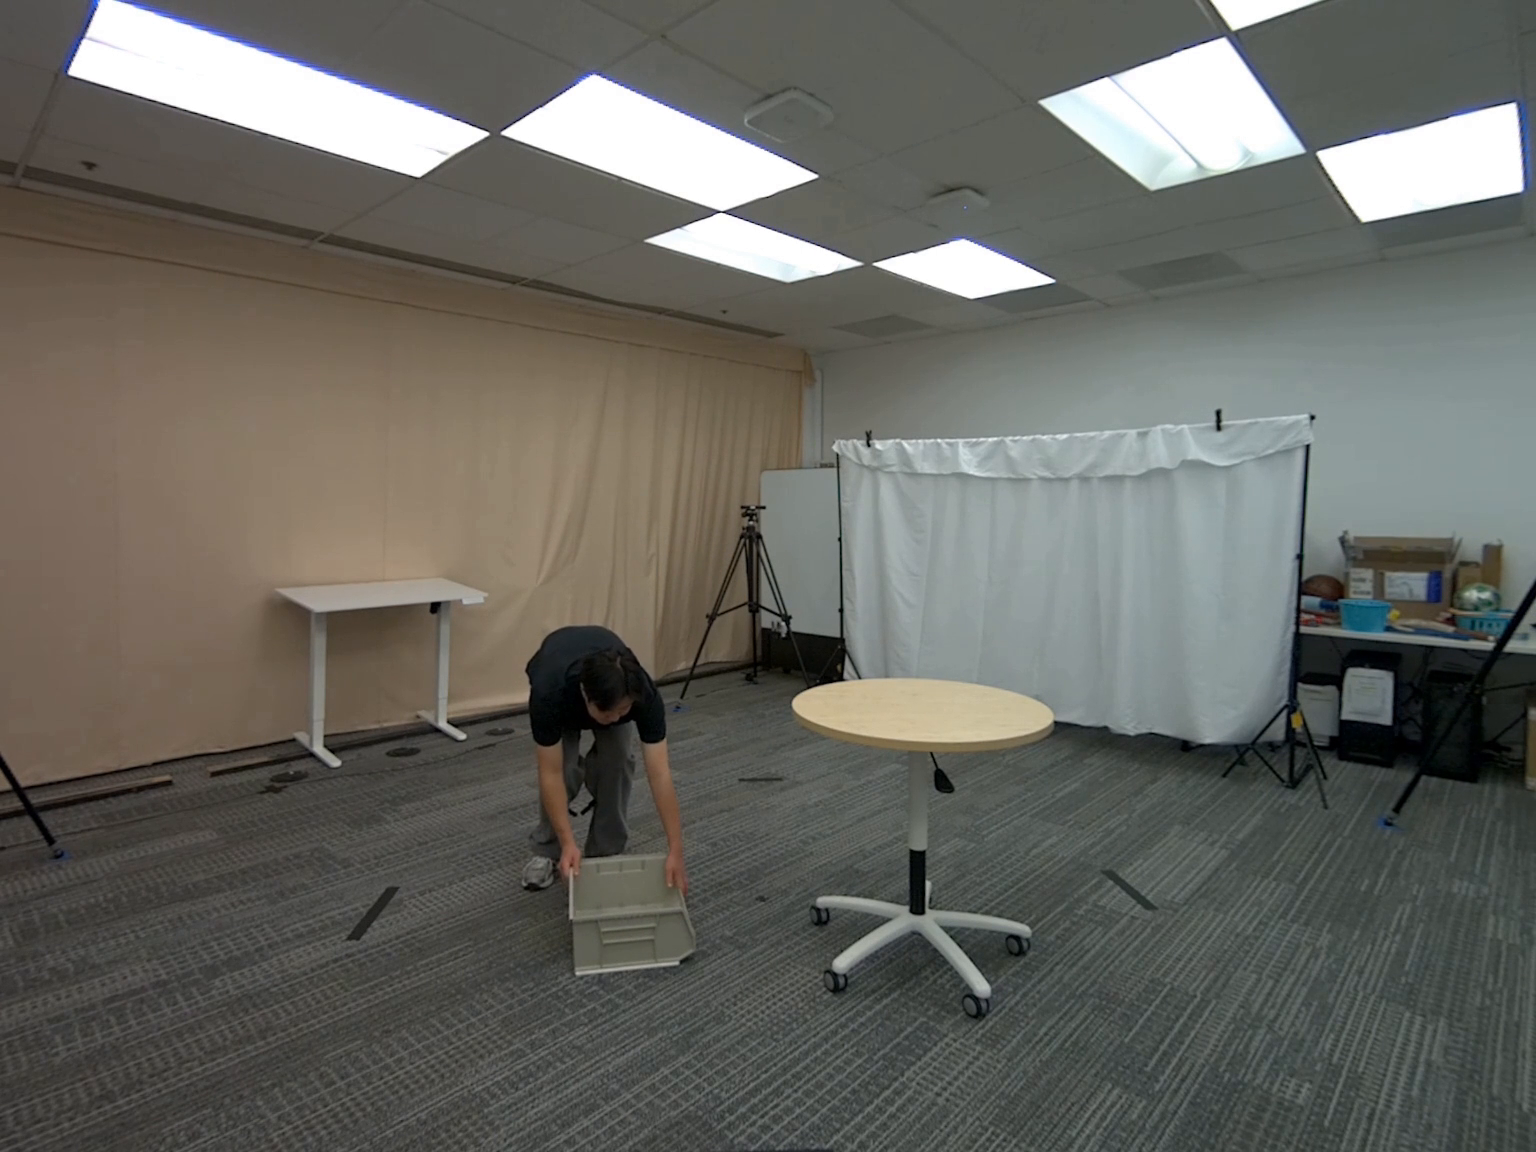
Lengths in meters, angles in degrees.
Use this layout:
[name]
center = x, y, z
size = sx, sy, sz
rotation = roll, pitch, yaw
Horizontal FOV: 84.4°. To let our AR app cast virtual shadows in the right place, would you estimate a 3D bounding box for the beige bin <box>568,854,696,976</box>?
[beige bin]
center = -0.449, 1.083, 2.721
size = 0.373, 0.188, 0.429
rotation = -1, 5, -12
